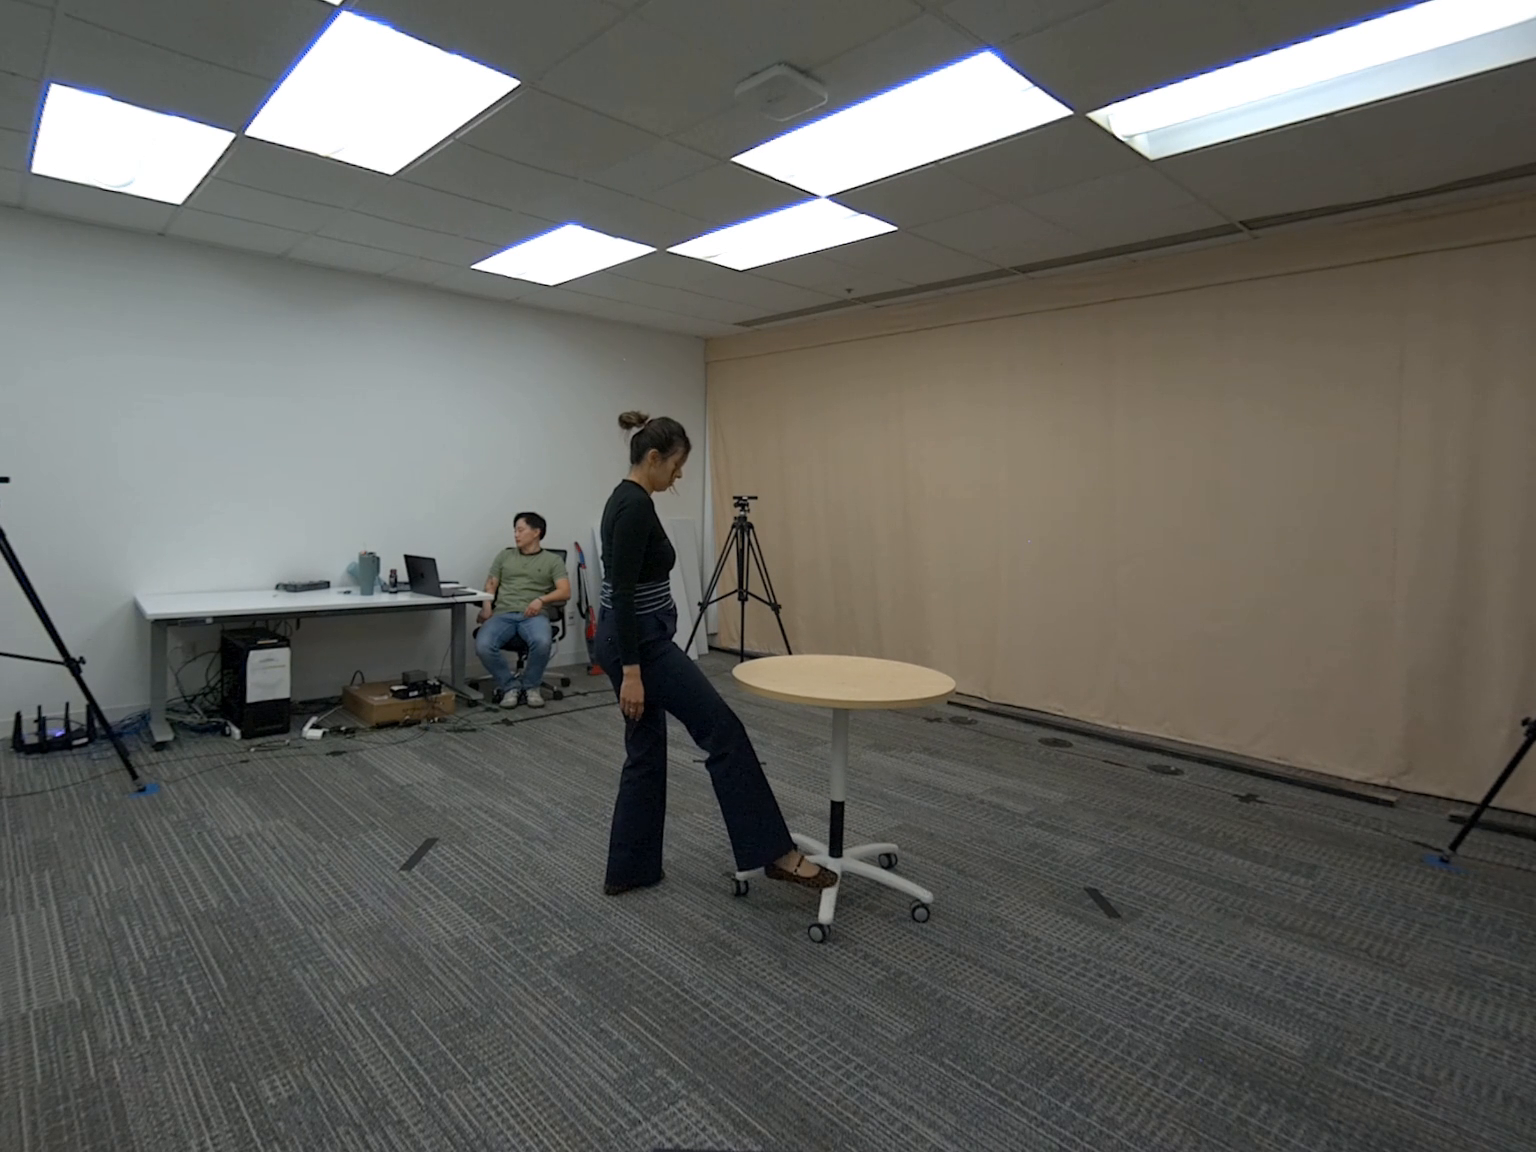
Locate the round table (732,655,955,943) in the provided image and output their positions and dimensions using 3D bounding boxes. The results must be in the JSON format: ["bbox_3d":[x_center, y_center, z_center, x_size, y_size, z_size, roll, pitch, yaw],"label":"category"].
[{"bbox_3d":[0.230,0.736,2.952,0.763,0.792,0.766,2,4,-1],"label":"round table"}]
